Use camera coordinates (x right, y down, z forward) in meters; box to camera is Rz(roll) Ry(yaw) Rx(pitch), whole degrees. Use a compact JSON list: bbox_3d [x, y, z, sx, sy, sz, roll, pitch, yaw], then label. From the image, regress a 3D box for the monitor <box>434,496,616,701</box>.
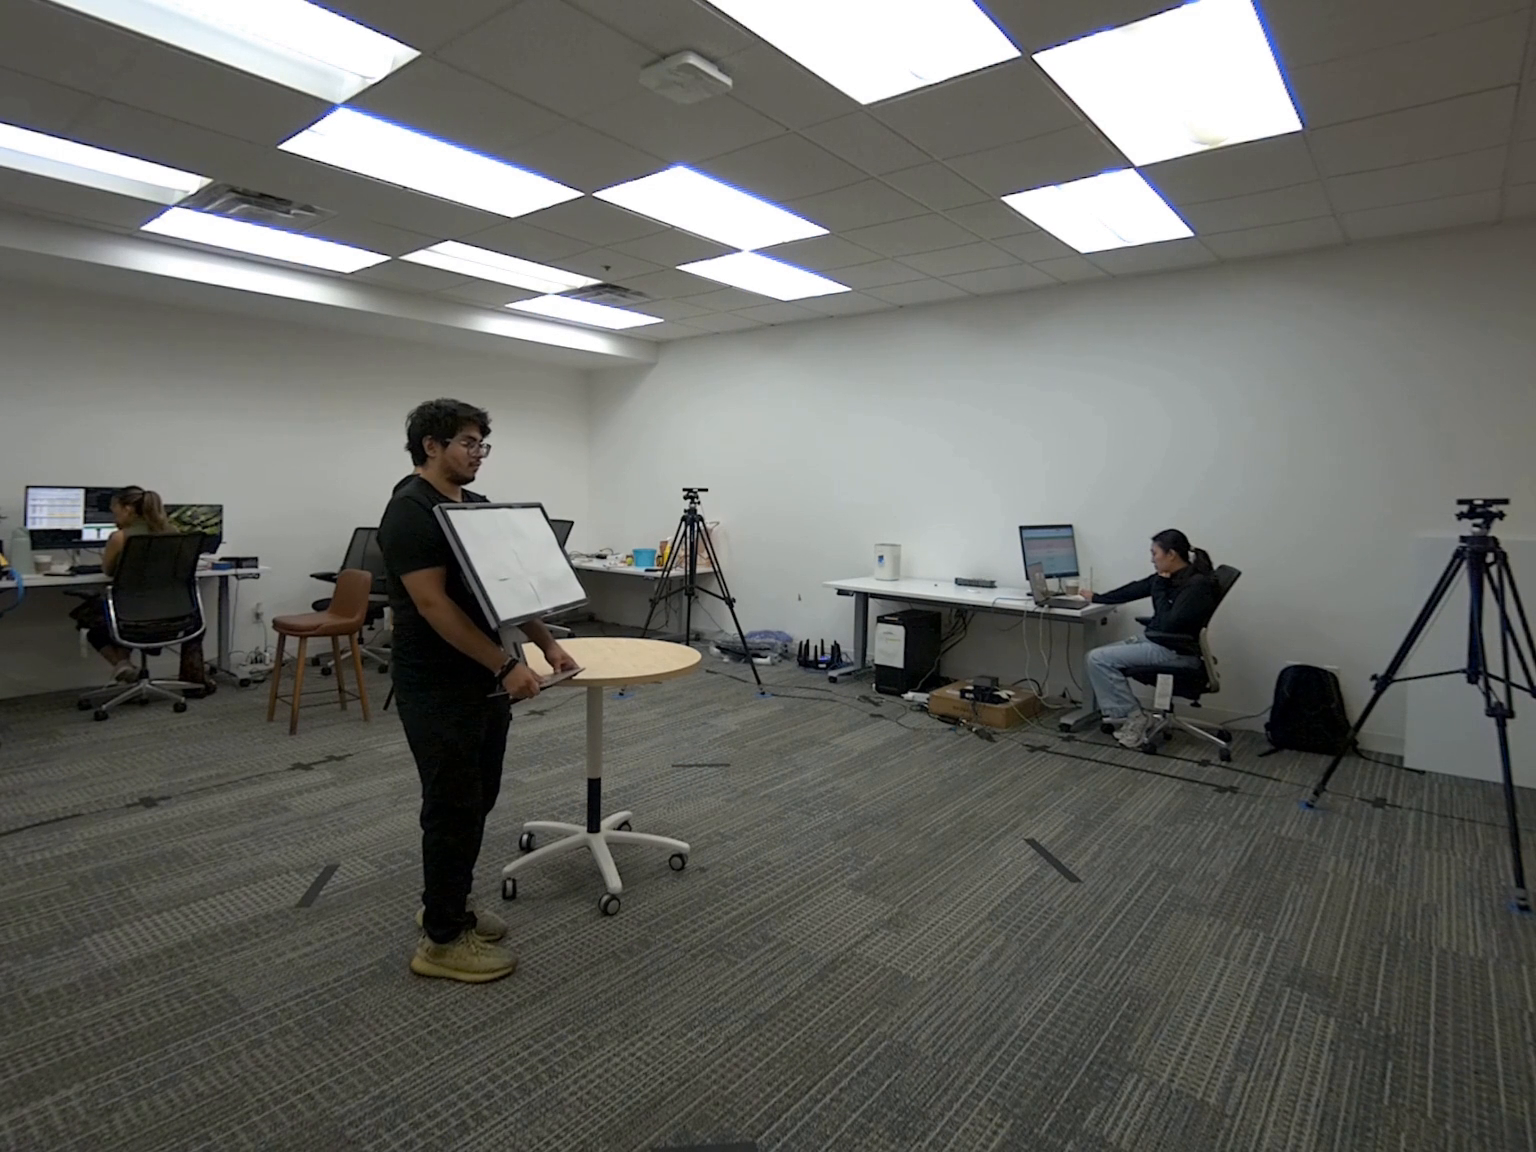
[{"bbox_3d":[-0.759,0.062,2.493,0.212,0.556,0.558,-23,-2,16],"label":"monitor"}]
